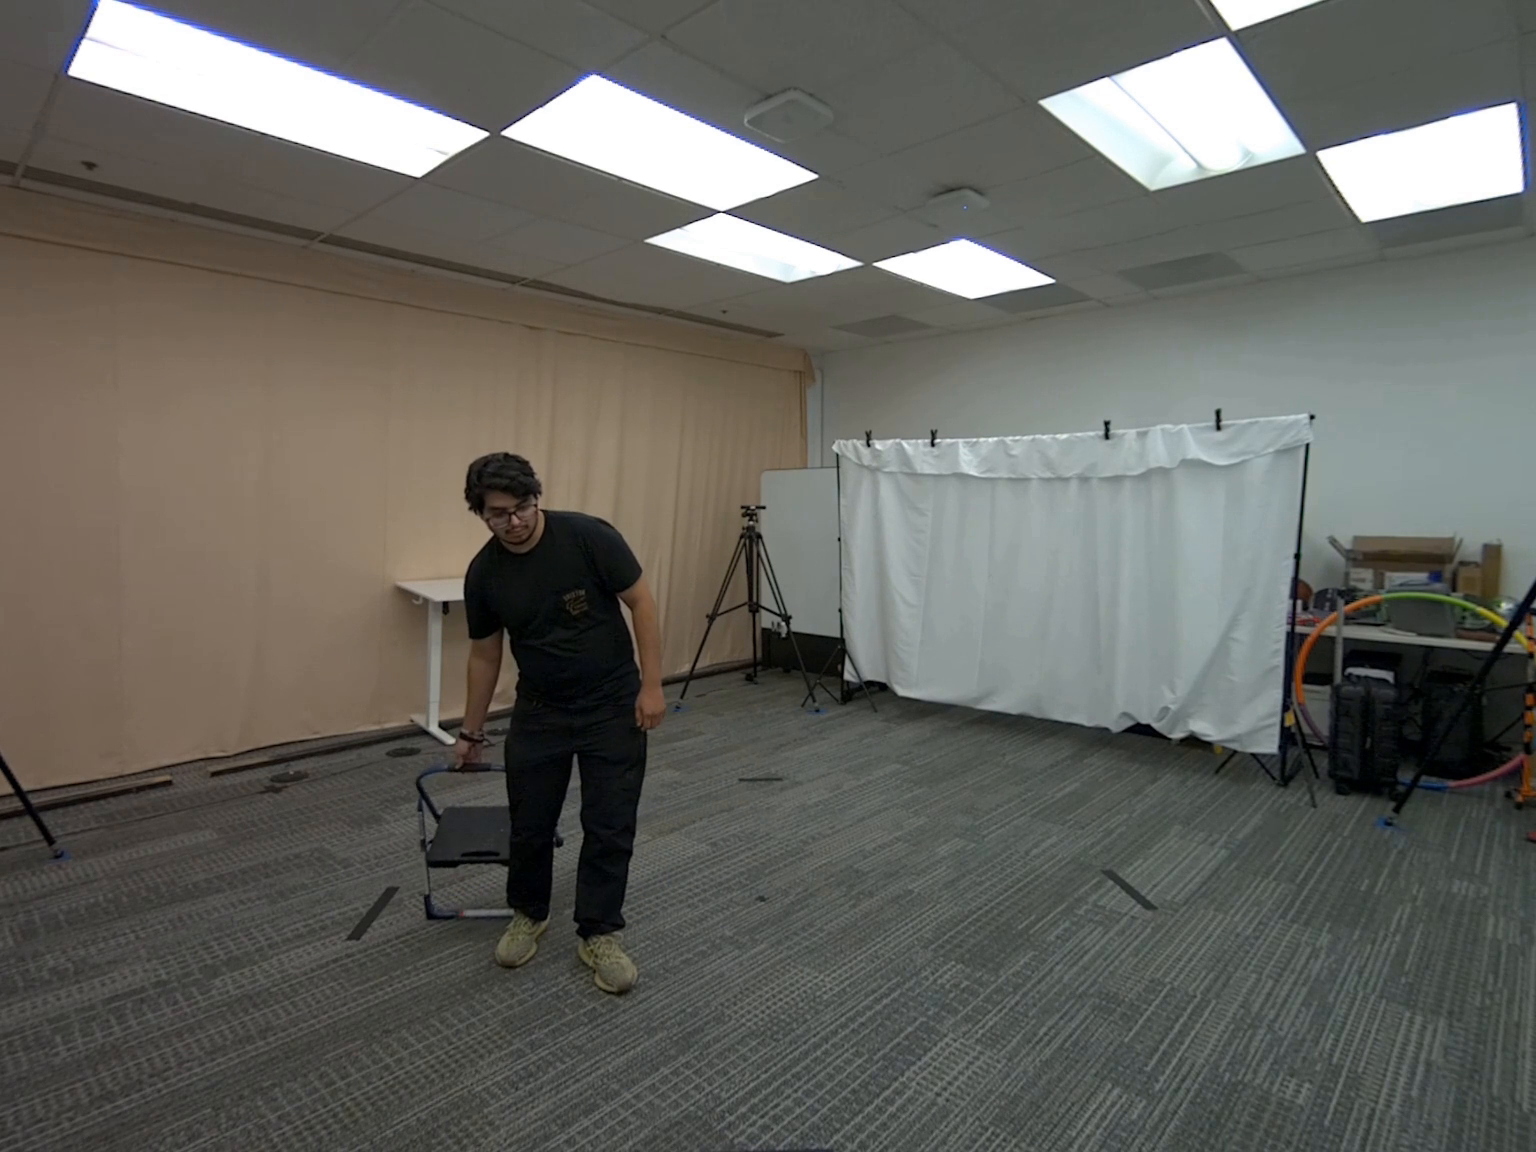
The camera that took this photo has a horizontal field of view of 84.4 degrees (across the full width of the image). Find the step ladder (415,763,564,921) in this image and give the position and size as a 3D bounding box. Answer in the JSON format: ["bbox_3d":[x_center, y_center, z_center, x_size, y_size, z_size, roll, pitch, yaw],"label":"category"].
[{"bbox_3d":[-0.973,0.826,2.859,0.429,0.596,0.356,-1,29,-3],"label":"step ladder"}]
